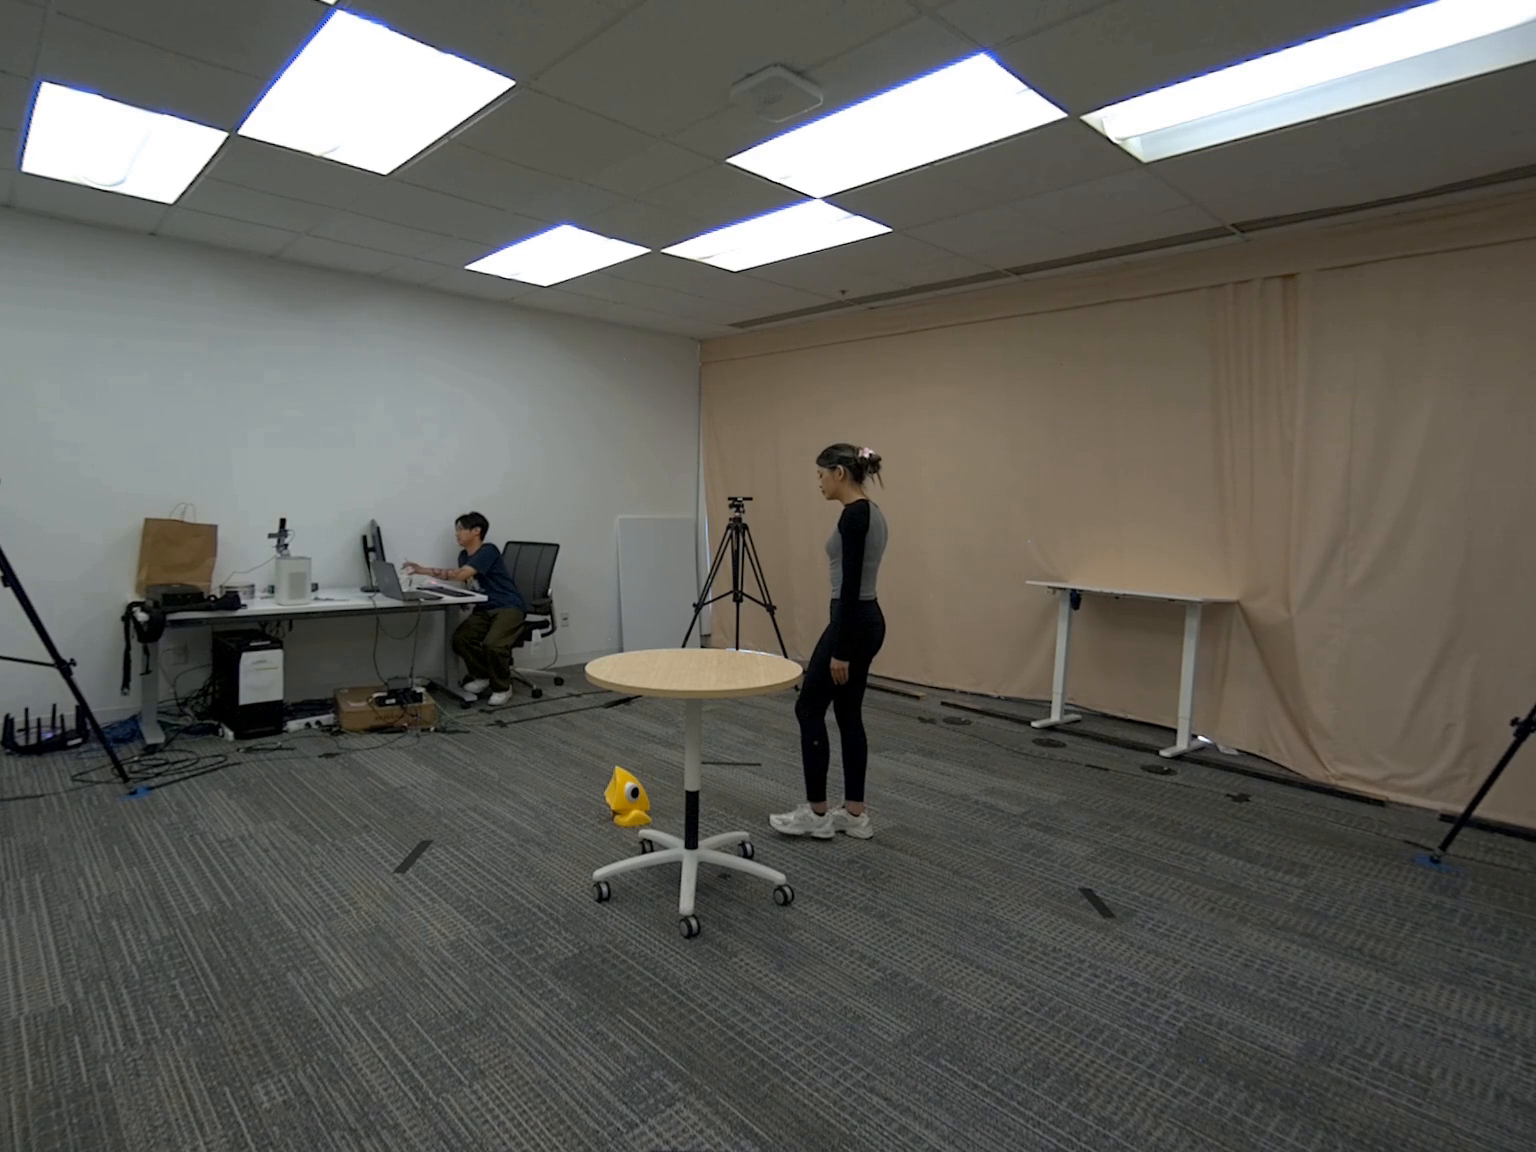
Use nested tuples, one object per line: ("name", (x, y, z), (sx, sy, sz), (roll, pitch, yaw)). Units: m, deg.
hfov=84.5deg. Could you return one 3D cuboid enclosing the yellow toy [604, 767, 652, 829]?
("yellow toy", (-0.610, 0.937, 3.650), (0.190, 0.230, 0.208), (1, 3, -19))
